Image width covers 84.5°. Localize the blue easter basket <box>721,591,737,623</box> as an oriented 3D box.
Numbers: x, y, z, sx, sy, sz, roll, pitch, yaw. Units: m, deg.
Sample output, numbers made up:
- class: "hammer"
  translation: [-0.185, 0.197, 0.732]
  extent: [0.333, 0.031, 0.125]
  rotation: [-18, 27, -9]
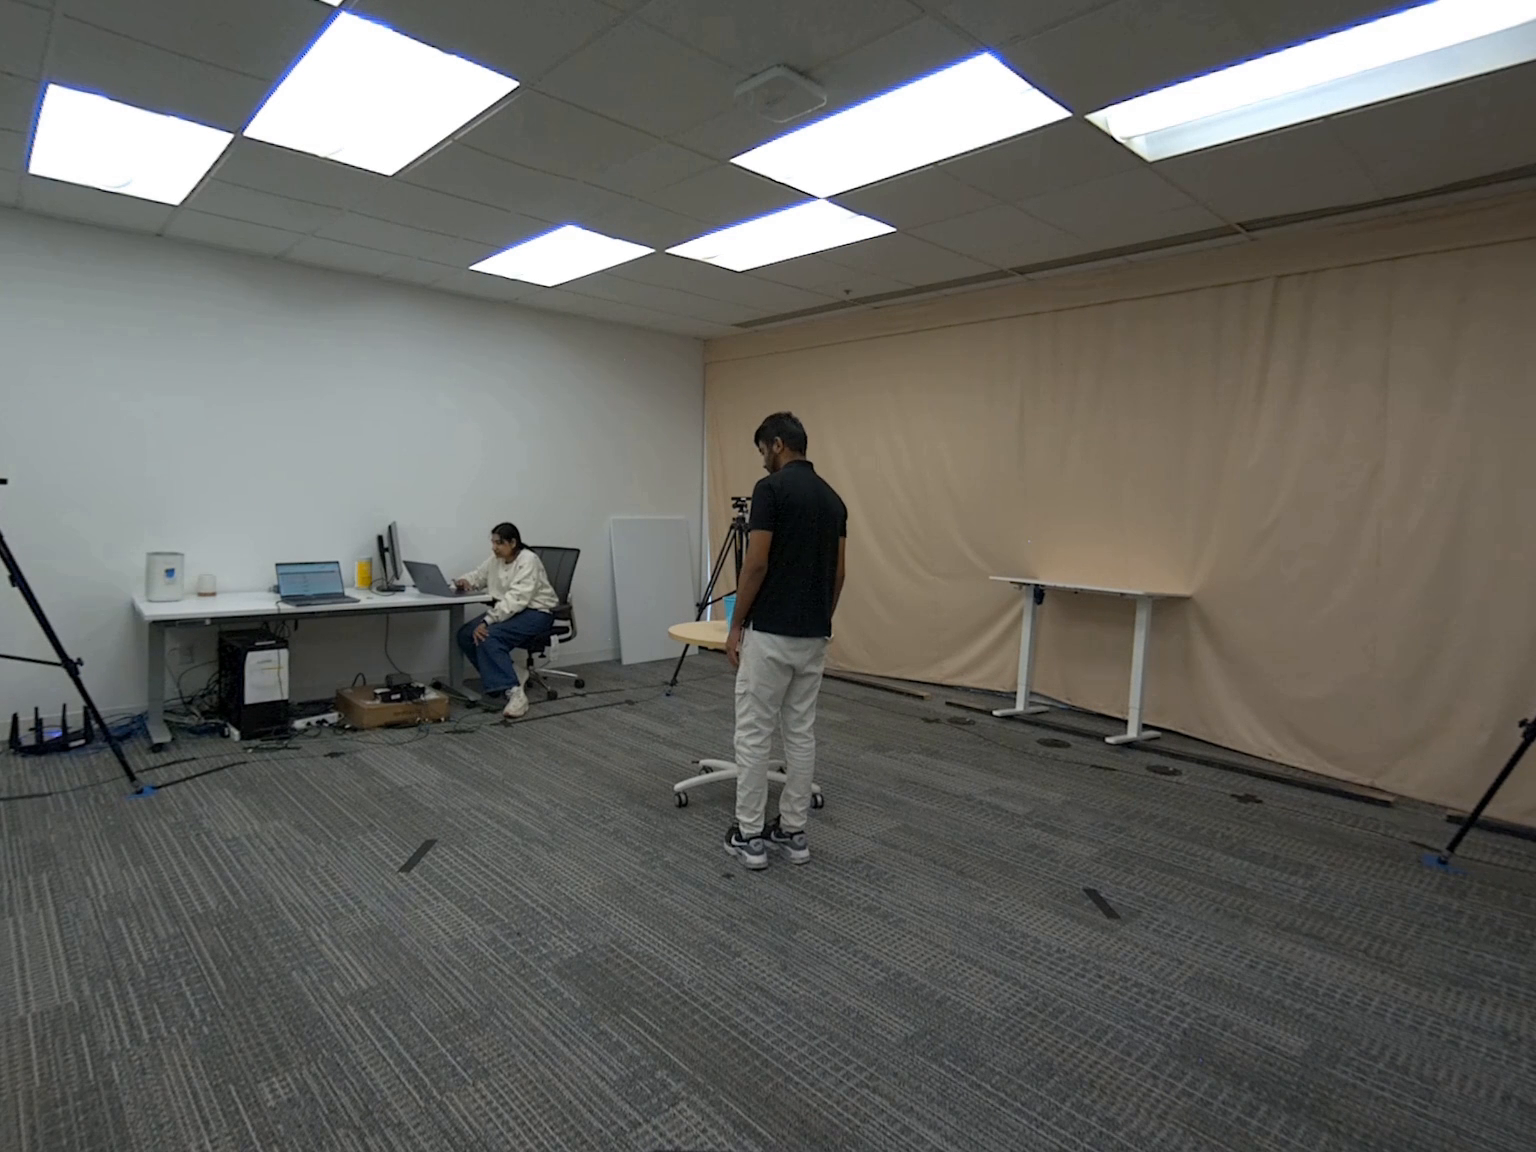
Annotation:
- class: "blue easter basket"
  translation: [-0.101, 0.180, 3.912]
  extent: [0.243, 0.155, 0.244]
  rotation: [2, 4, -1]
